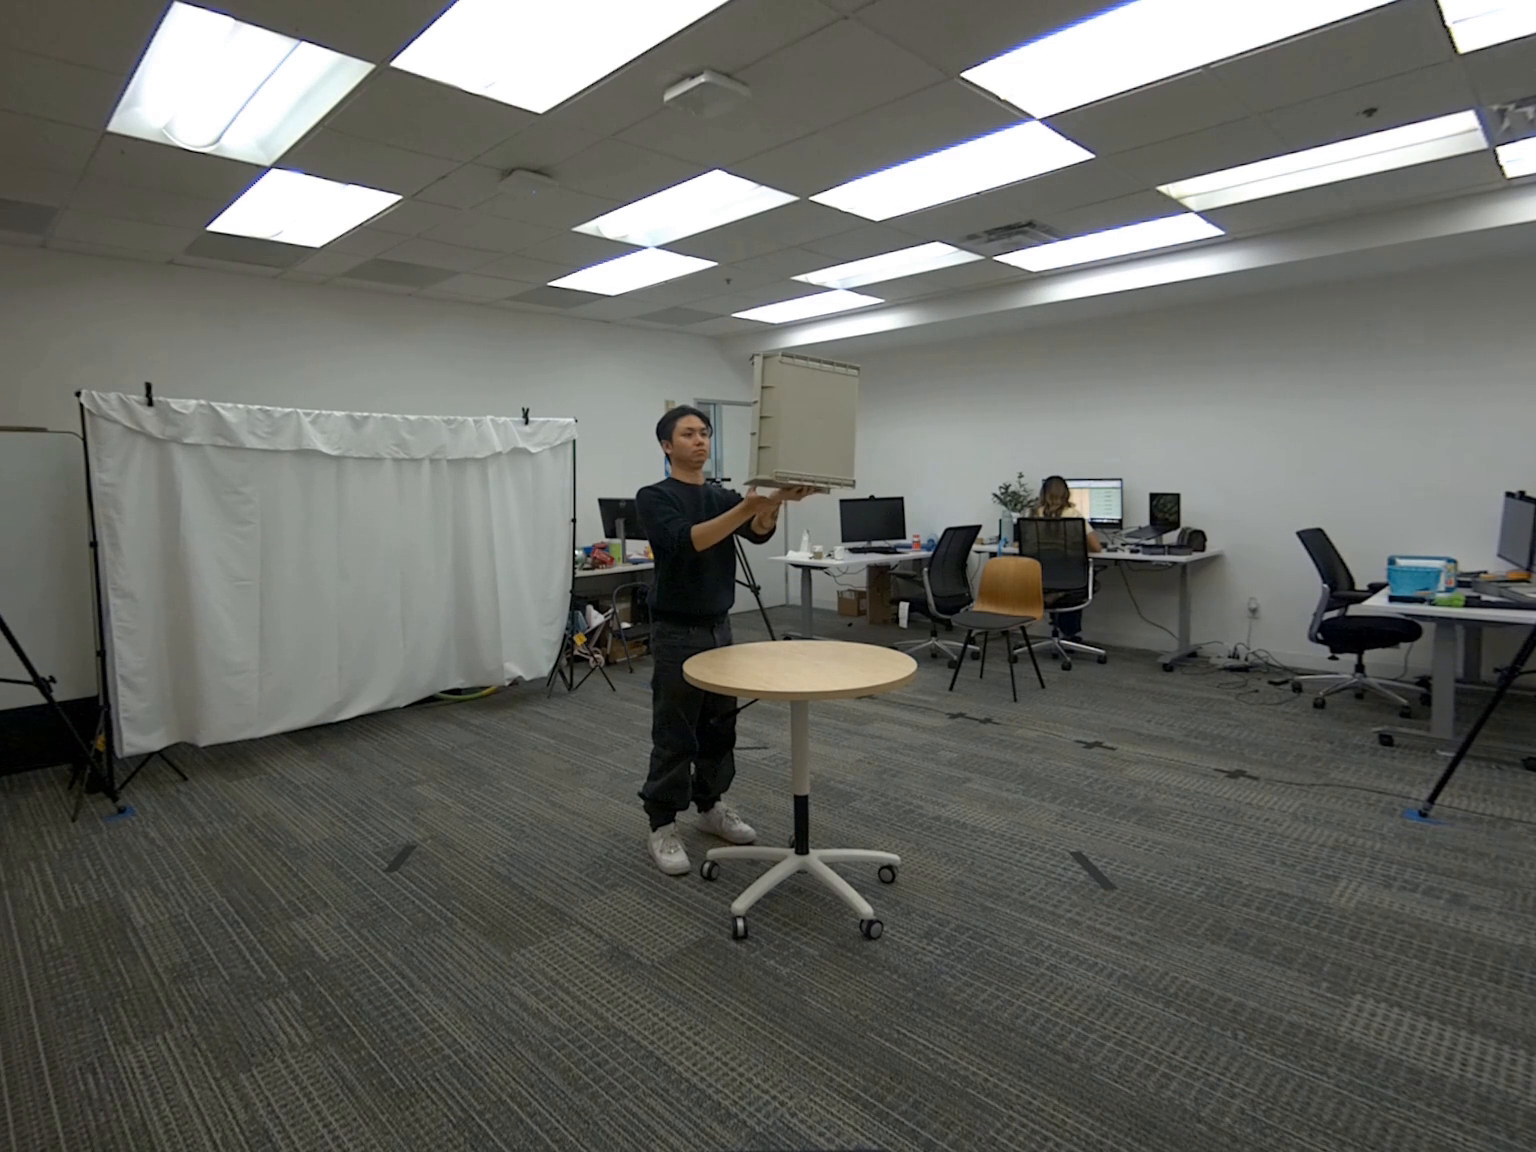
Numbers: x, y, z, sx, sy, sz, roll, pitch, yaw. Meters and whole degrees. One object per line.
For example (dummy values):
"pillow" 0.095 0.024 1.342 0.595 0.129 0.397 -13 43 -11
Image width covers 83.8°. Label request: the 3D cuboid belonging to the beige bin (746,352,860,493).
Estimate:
"beige bin" 0.105 -0.502 2.829 0.368 0.423 0.193 4 -2 -28
